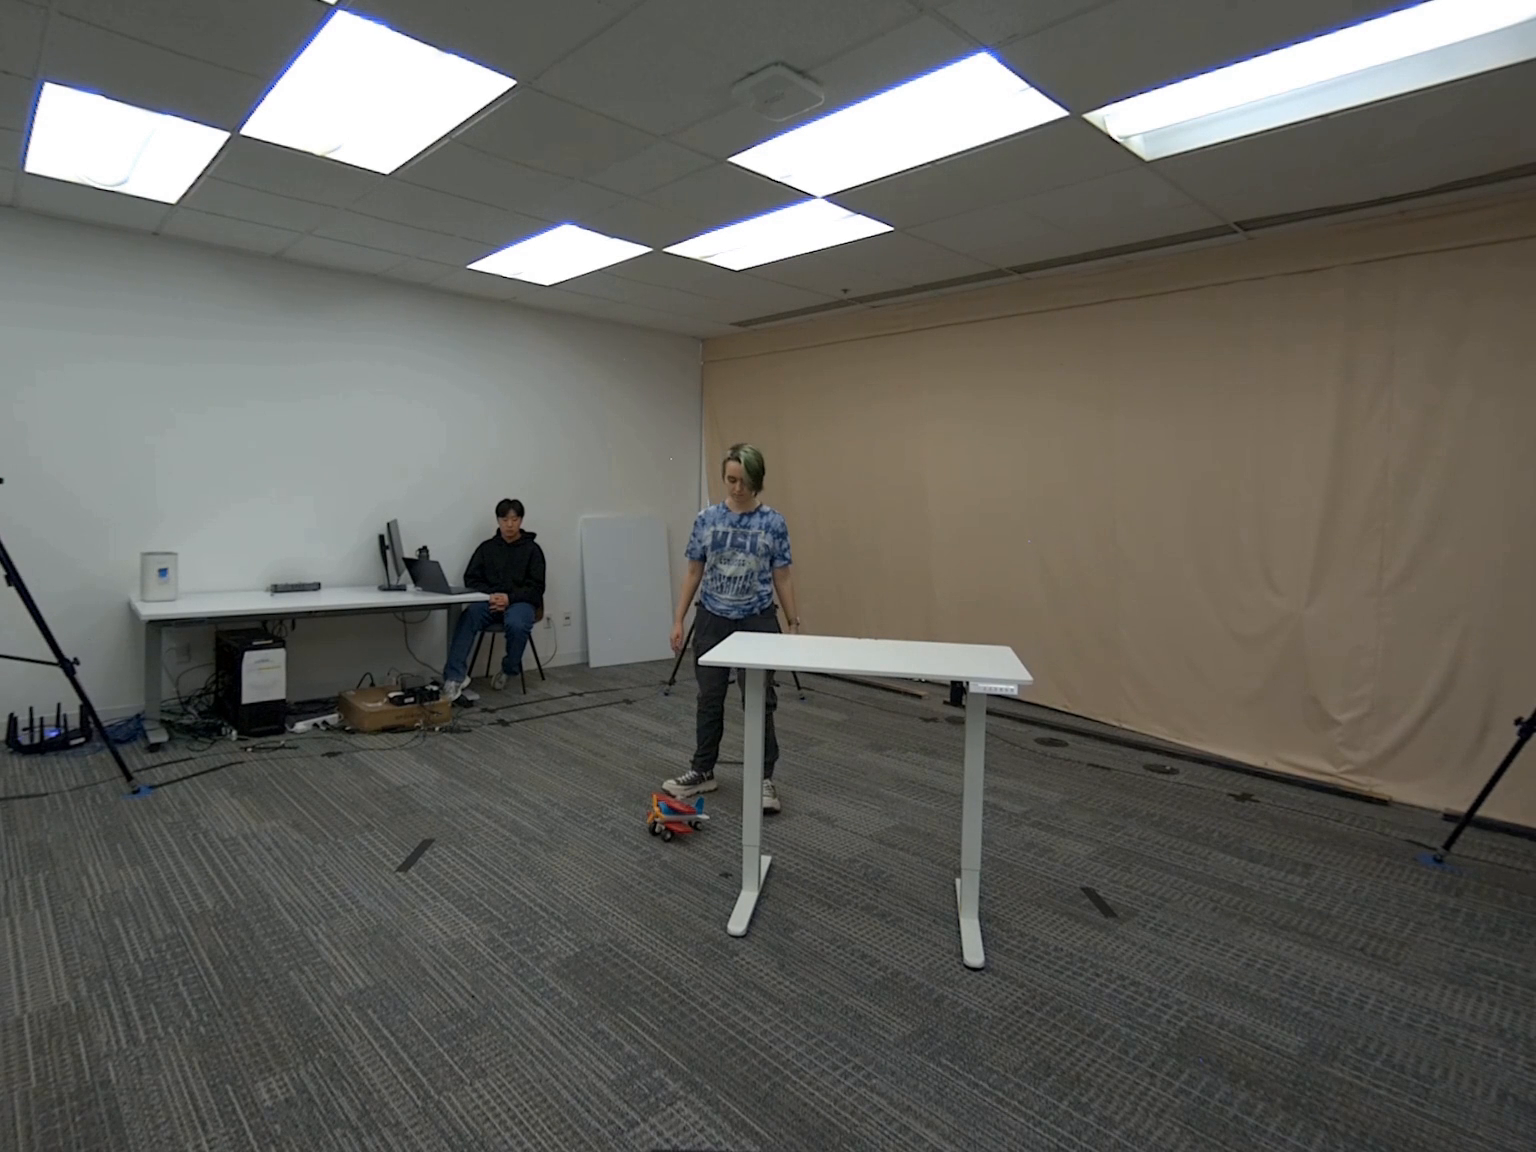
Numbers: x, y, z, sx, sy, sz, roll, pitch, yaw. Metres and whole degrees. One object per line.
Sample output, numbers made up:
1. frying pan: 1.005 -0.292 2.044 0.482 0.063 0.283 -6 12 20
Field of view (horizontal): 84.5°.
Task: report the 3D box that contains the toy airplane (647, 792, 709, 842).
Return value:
1. toy airplane: -0.392 0.989 3.492 0.255 0.156 0.256 2 7 19
